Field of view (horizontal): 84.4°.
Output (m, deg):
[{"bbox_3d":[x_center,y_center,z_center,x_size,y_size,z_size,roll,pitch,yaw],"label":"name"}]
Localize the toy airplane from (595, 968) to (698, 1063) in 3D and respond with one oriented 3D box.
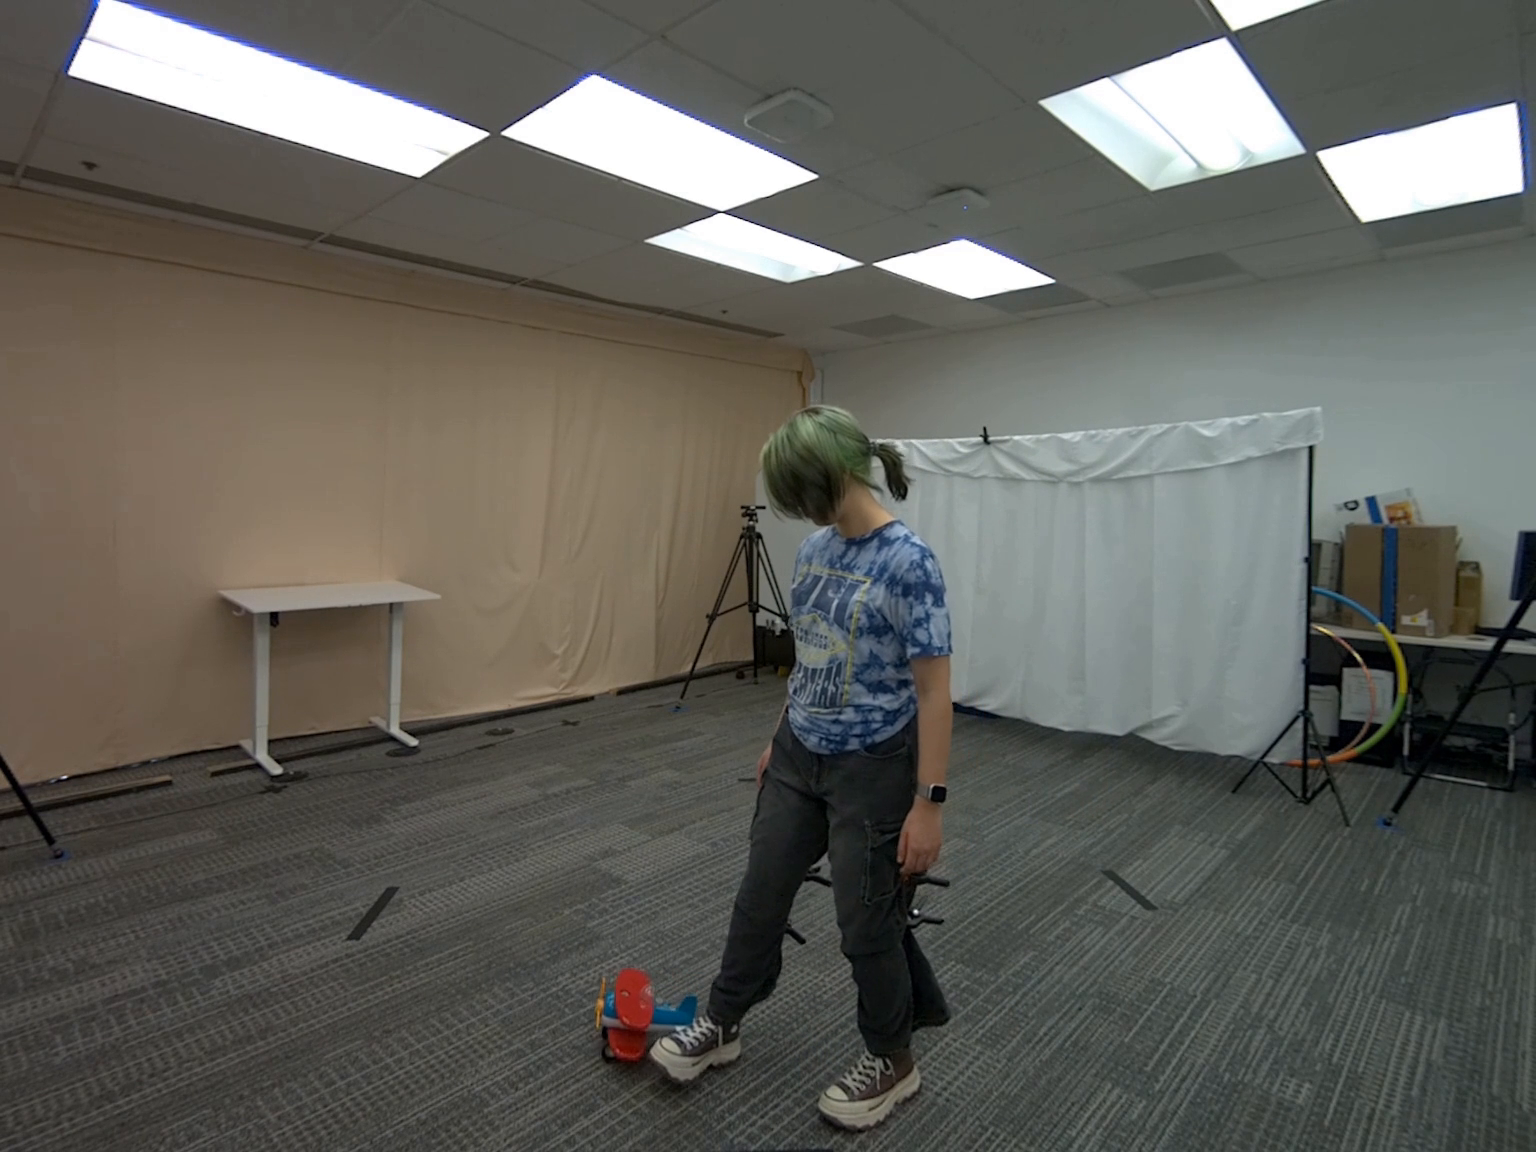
[{"bbox_3d":[-0.312,1.145,2.177,0.252,0.156,0.259,-5,6,-35],"label":"toy airplane"}]
